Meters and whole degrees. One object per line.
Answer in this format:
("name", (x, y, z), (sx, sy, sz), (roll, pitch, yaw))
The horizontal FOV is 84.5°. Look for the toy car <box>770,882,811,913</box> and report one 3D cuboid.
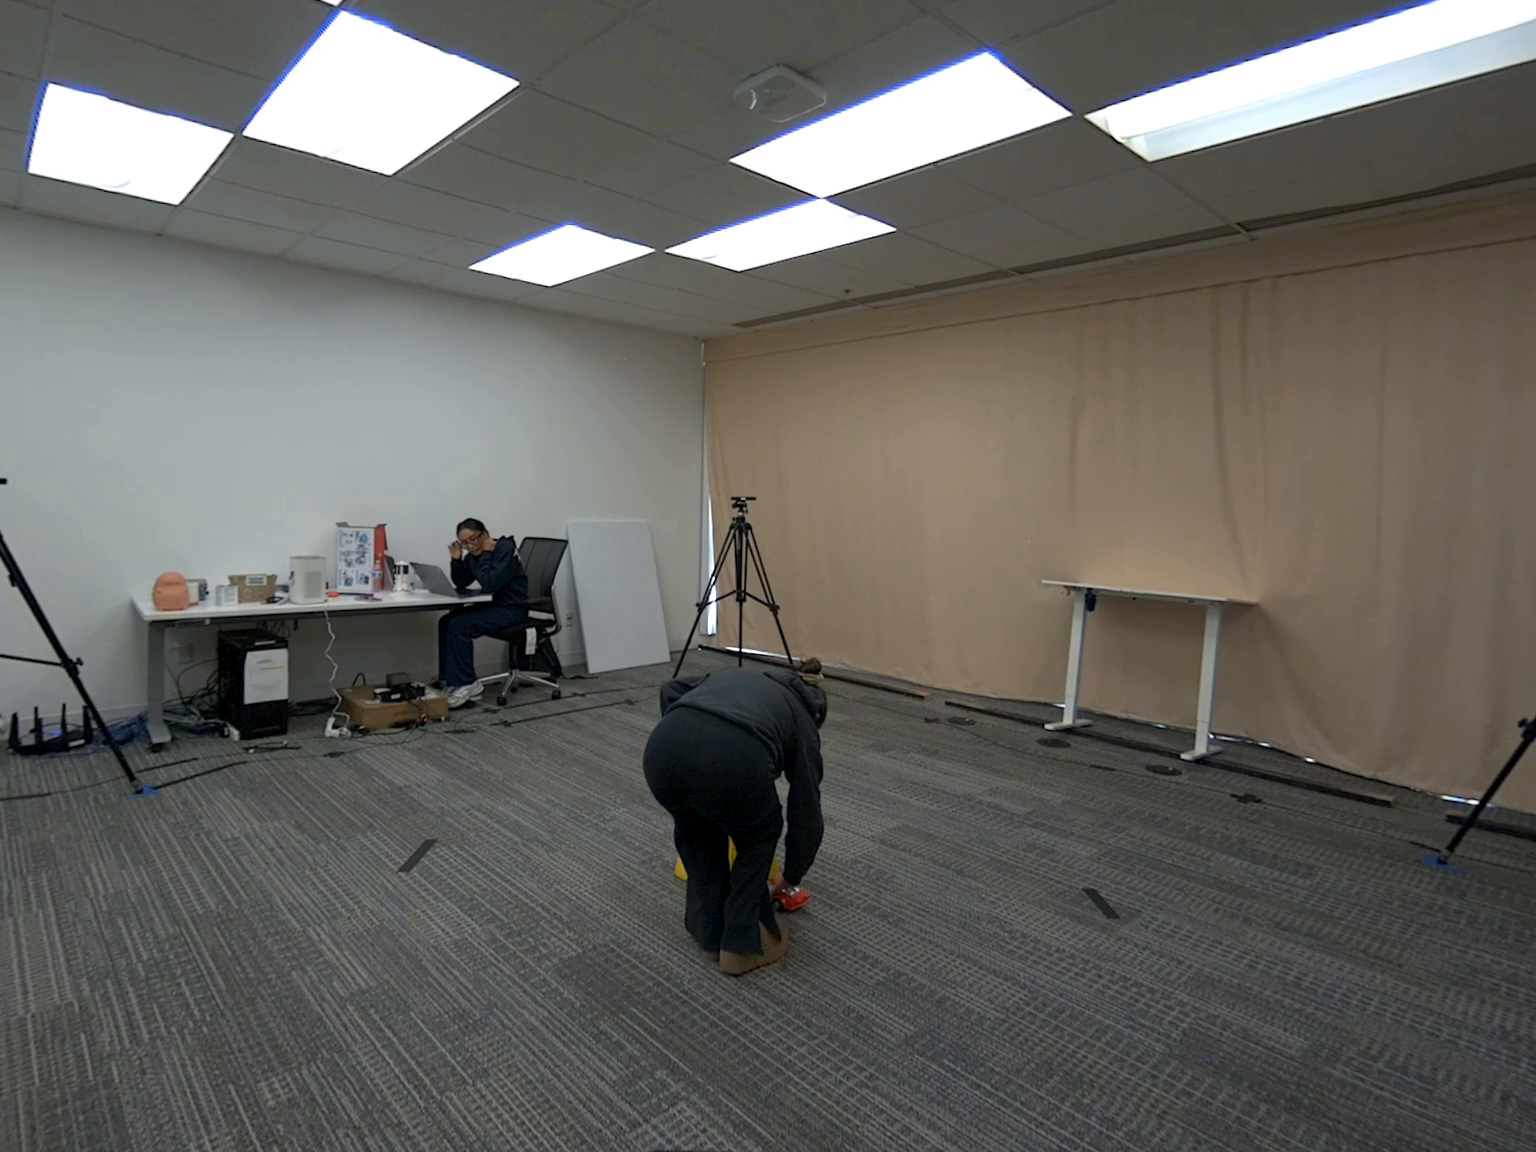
("toy car", (0.010, 1.098, 2.915), (0.127, 0.083, 0.259), (-6, -3, -43))
